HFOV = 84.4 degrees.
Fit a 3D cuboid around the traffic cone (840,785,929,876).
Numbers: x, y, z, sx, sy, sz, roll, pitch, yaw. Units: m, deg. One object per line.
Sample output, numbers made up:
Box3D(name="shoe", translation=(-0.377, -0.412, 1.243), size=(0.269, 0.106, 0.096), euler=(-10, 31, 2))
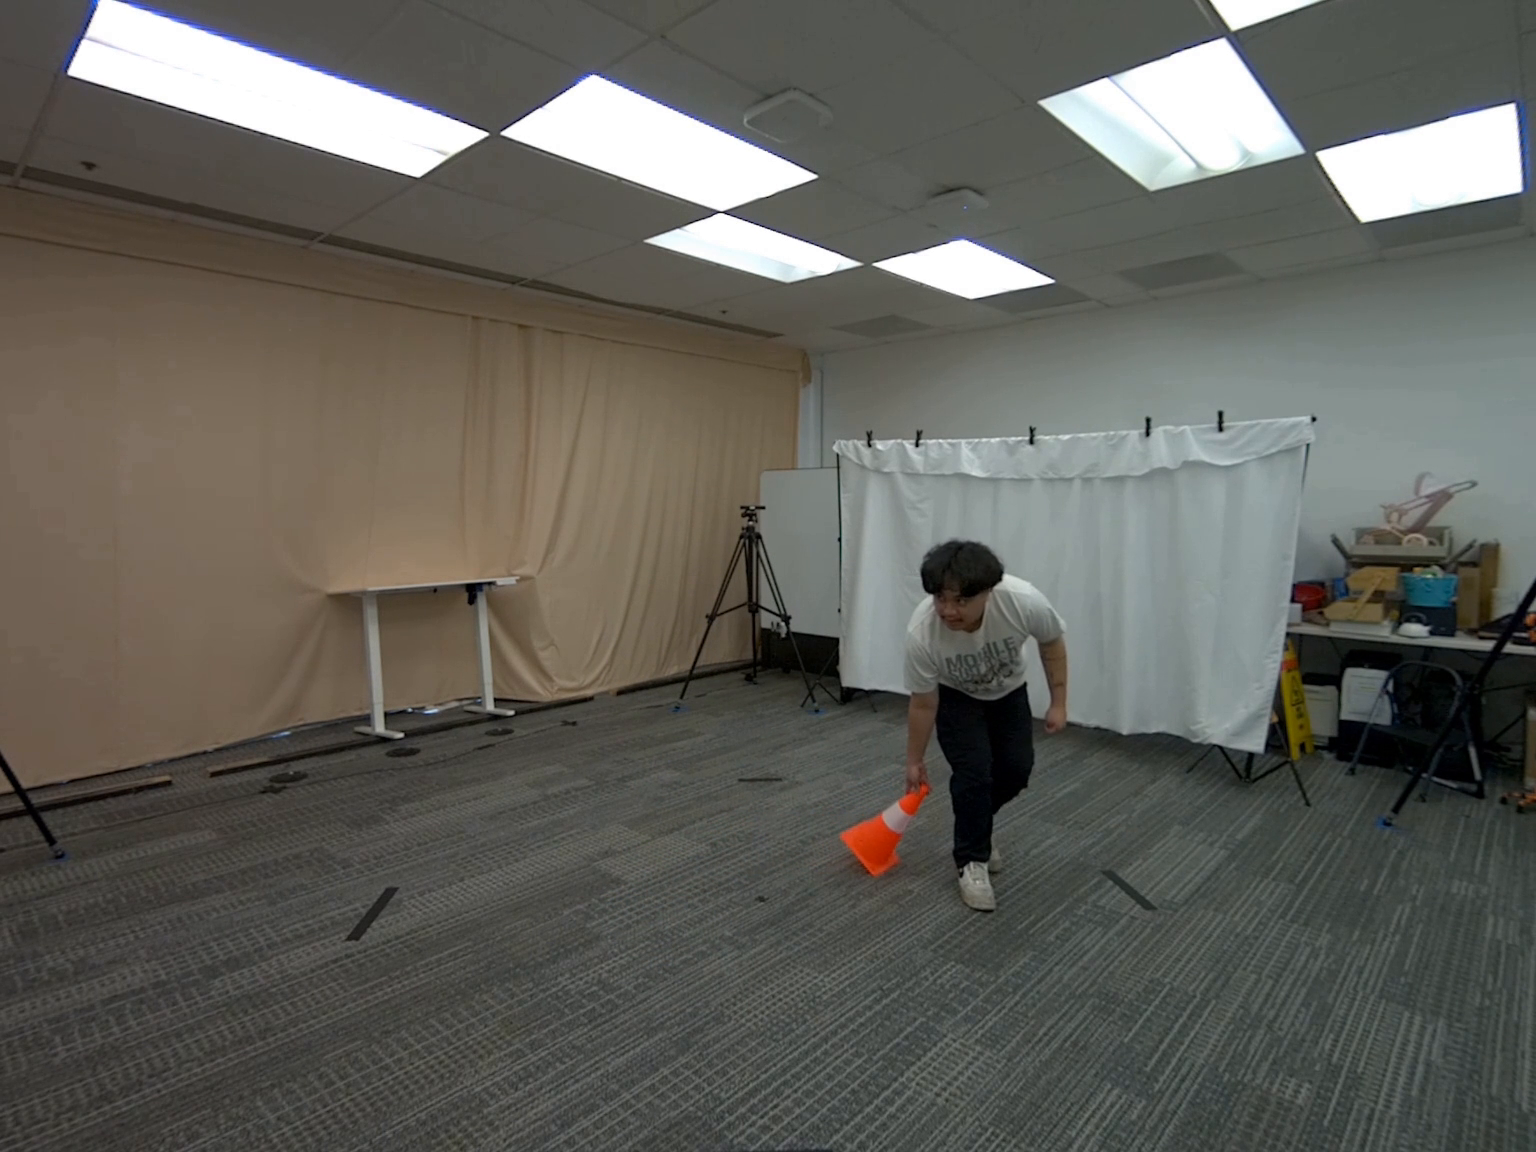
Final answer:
Box3D(name="traffic cone", translation=(0.496, 0.922, 3.189), size=(0.209, 0.383, 0.199), euler=(43, 31, 25))
